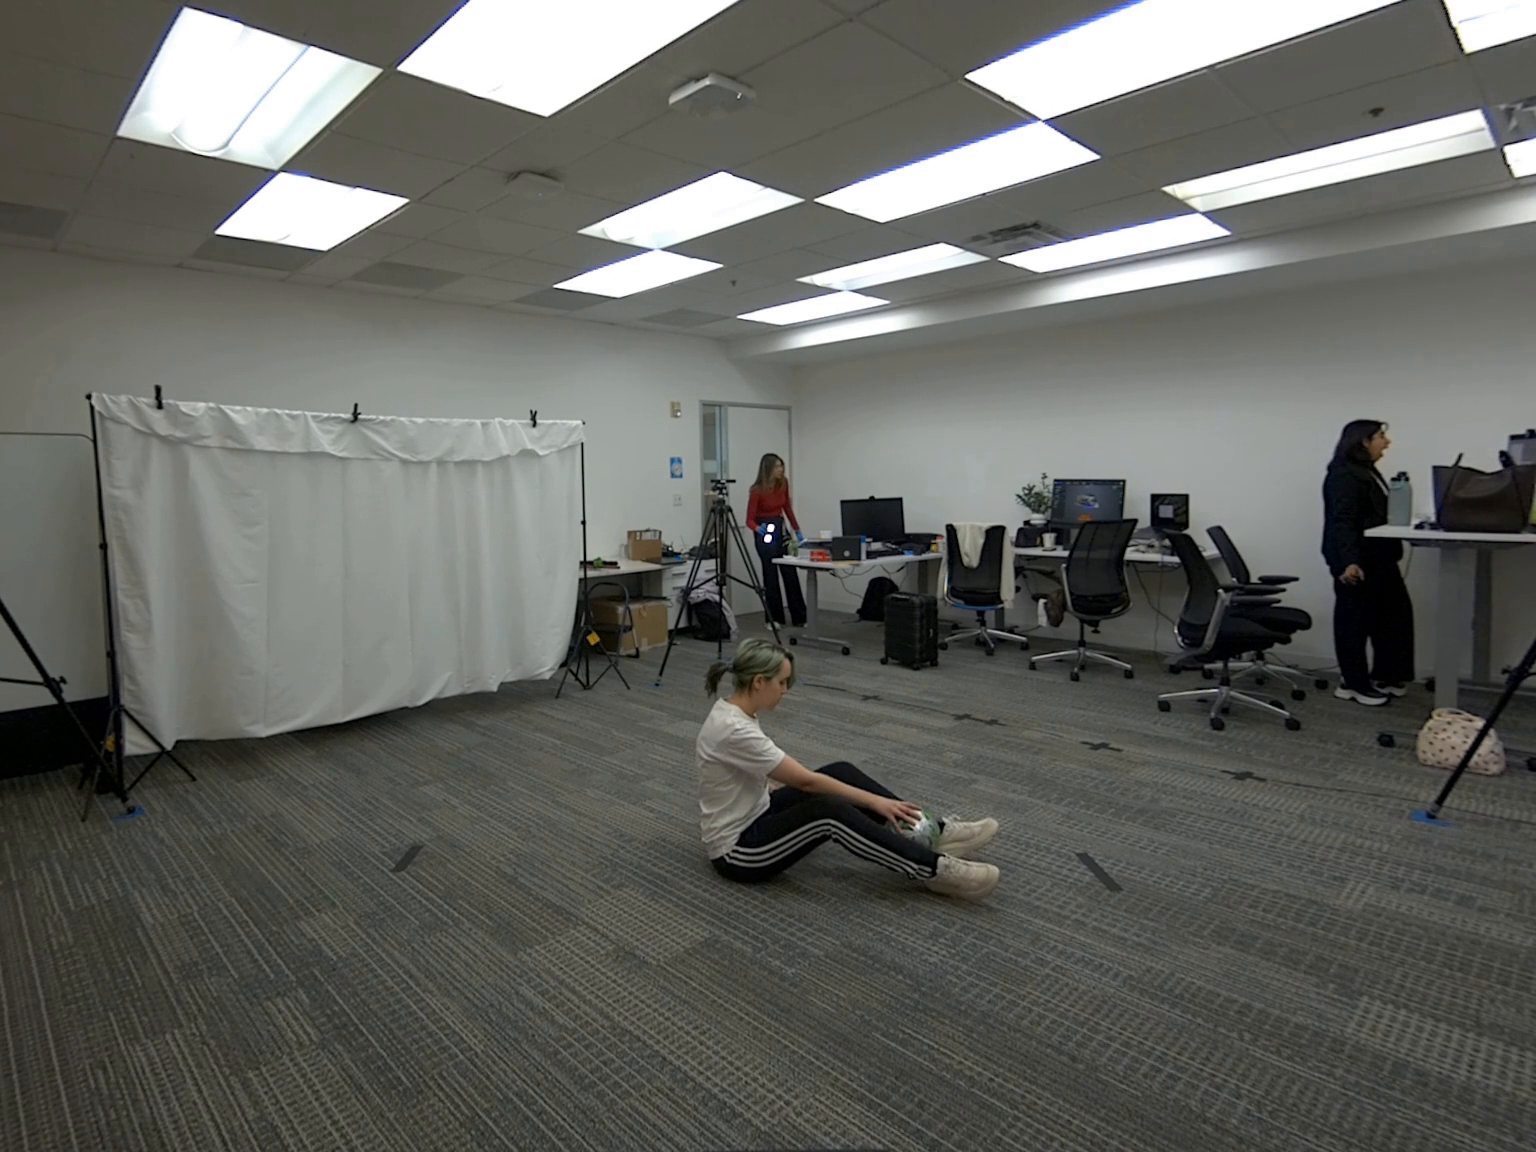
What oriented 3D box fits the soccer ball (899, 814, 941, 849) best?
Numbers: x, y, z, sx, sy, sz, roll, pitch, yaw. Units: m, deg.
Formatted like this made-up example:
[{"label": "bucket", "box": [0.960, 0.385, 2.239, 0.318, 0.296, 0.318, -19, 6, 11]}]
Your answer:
[{"label": "soccer ball", "box": [0.497, 0.897, 2.967, 0.187, 0.187, 0.188, -1, 5, -2]}]
